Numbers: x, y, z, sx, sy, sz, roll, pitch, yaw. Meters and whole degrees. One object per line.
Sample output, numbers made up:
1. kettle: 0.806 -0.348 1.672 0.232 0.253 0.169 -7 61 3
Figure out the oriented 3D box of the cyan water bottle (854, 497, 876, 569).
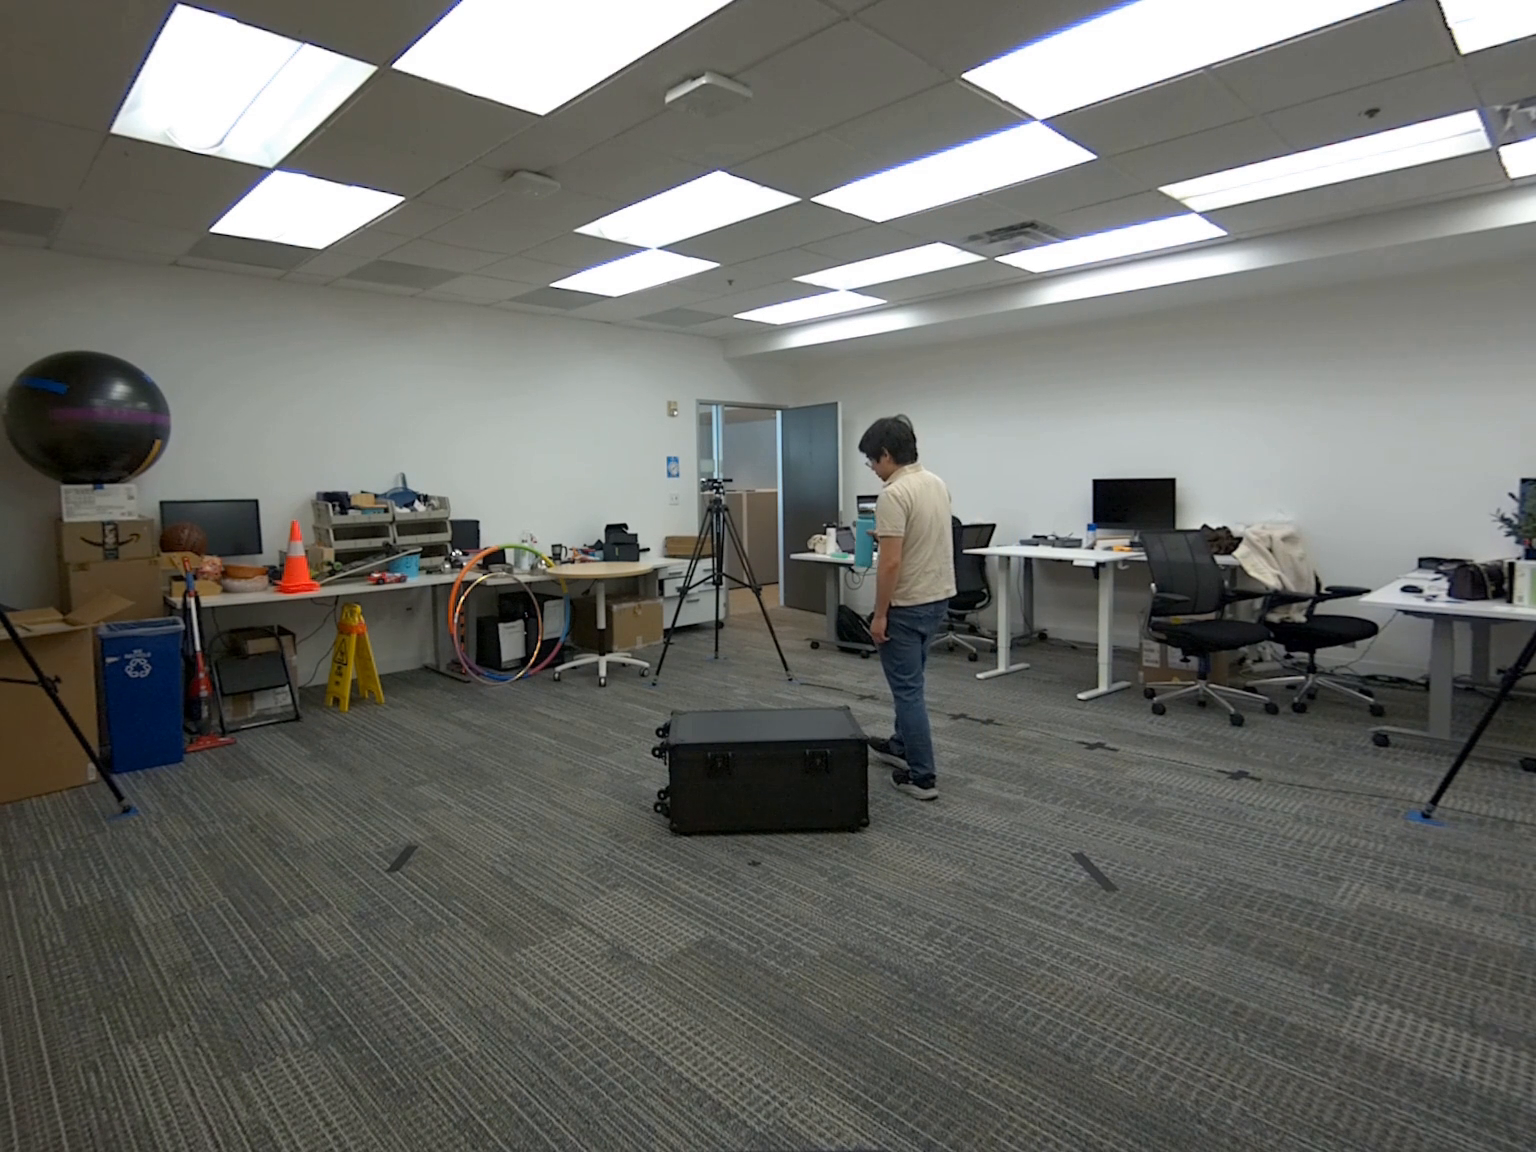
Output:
1. cyan water bottle: 0.471 -0.190 4.075 0.092 0.282 0.093 3 5 -2
